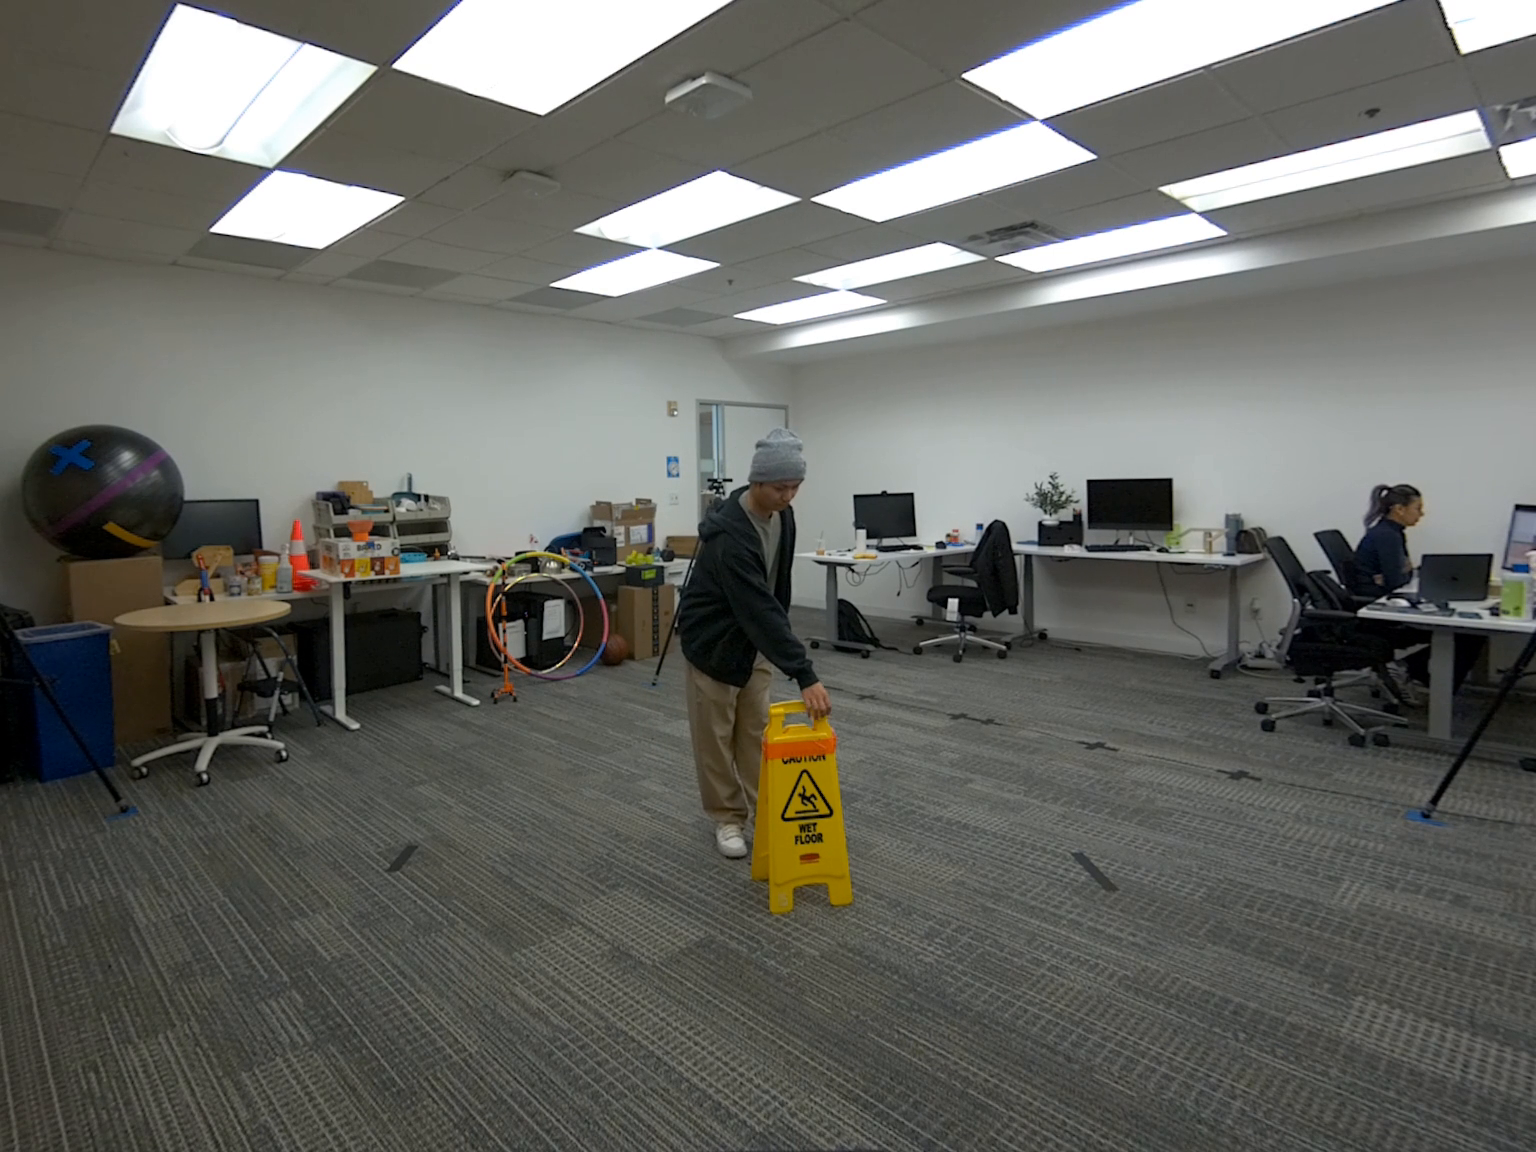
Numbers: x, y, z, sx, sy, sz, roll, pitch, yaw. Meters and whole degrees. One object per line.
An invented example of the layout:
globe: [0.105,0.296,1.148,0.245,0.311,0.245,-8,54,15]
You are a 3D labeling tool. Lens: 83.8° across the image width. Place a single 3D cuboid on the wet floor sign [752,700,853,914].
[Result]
wet floor sign: [0.109,0.739,2.868,0.279,0.643,0.294,-3,5,-13]
